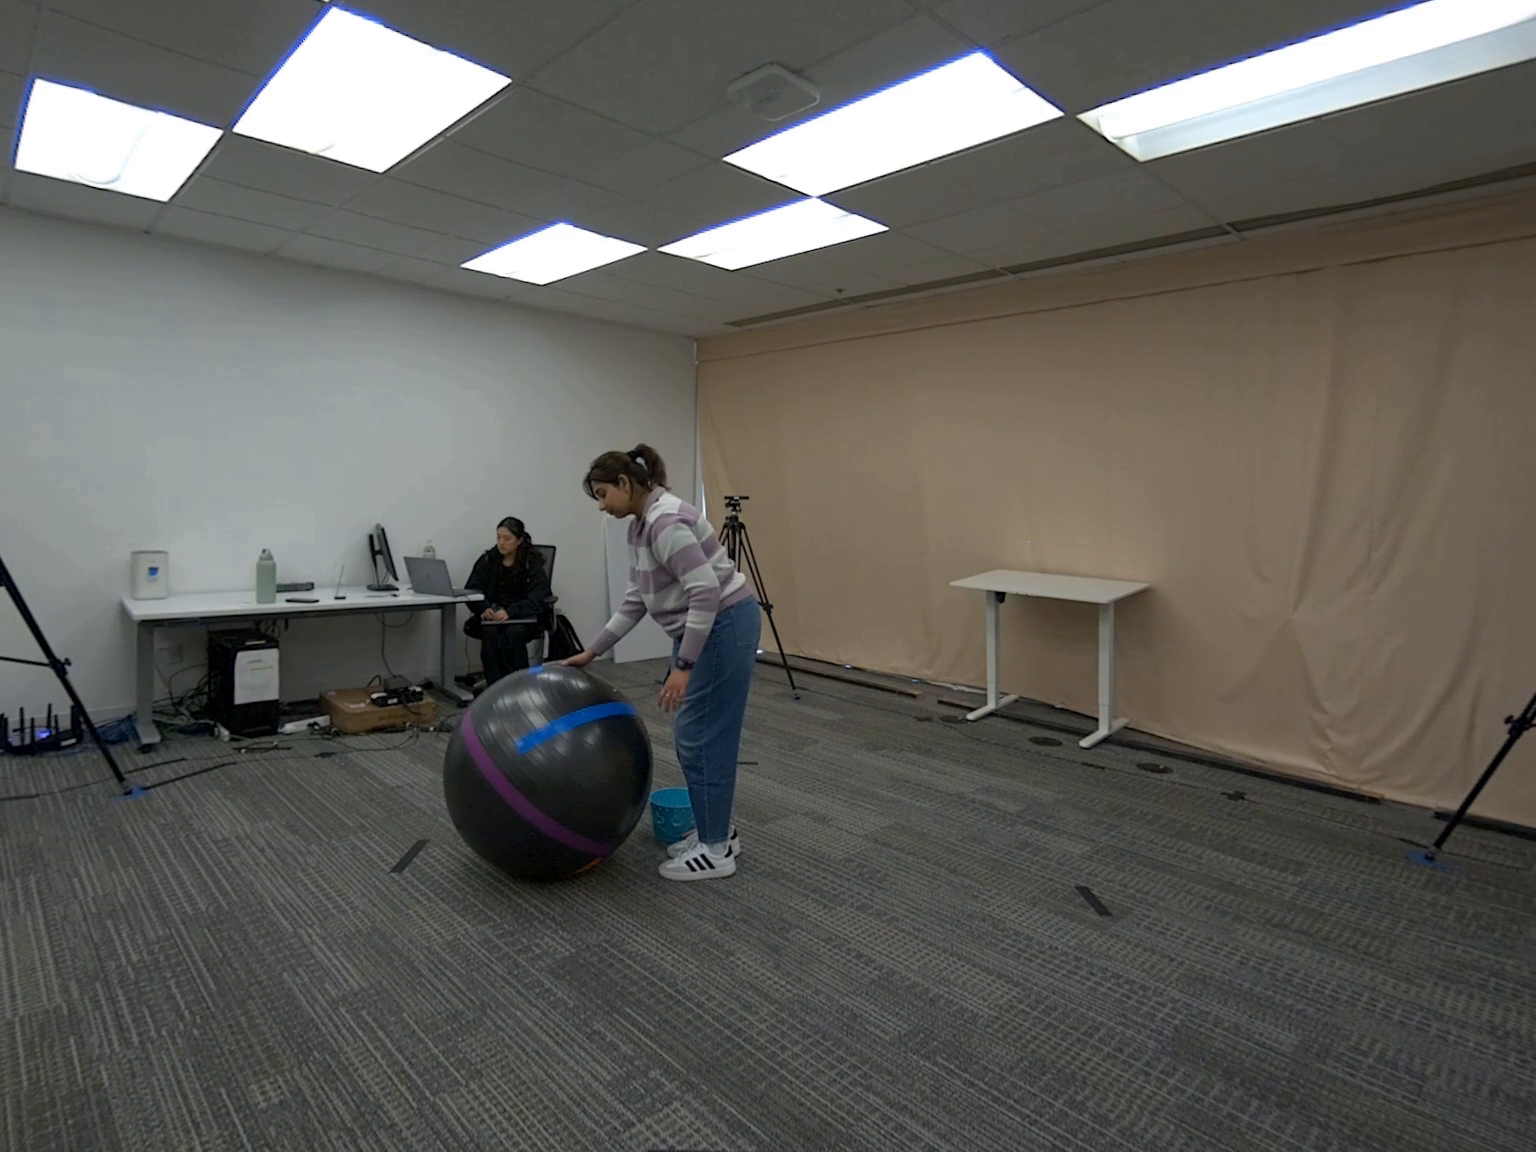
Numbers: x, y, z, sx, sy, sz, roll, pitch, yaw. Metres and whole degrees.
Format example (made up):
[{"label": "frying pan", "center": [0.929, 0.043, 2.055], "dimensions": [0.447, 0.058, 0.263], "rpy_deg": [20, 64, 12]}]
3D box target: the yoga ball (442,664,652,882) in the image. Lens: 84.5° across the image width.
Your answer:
[{"label": "yoga ball", "center": [-0.818, 0.720, 3.128], "dimensions": [0.757, 0.756, 0.761], "rpy_deg": [1, 4, -1]}]
